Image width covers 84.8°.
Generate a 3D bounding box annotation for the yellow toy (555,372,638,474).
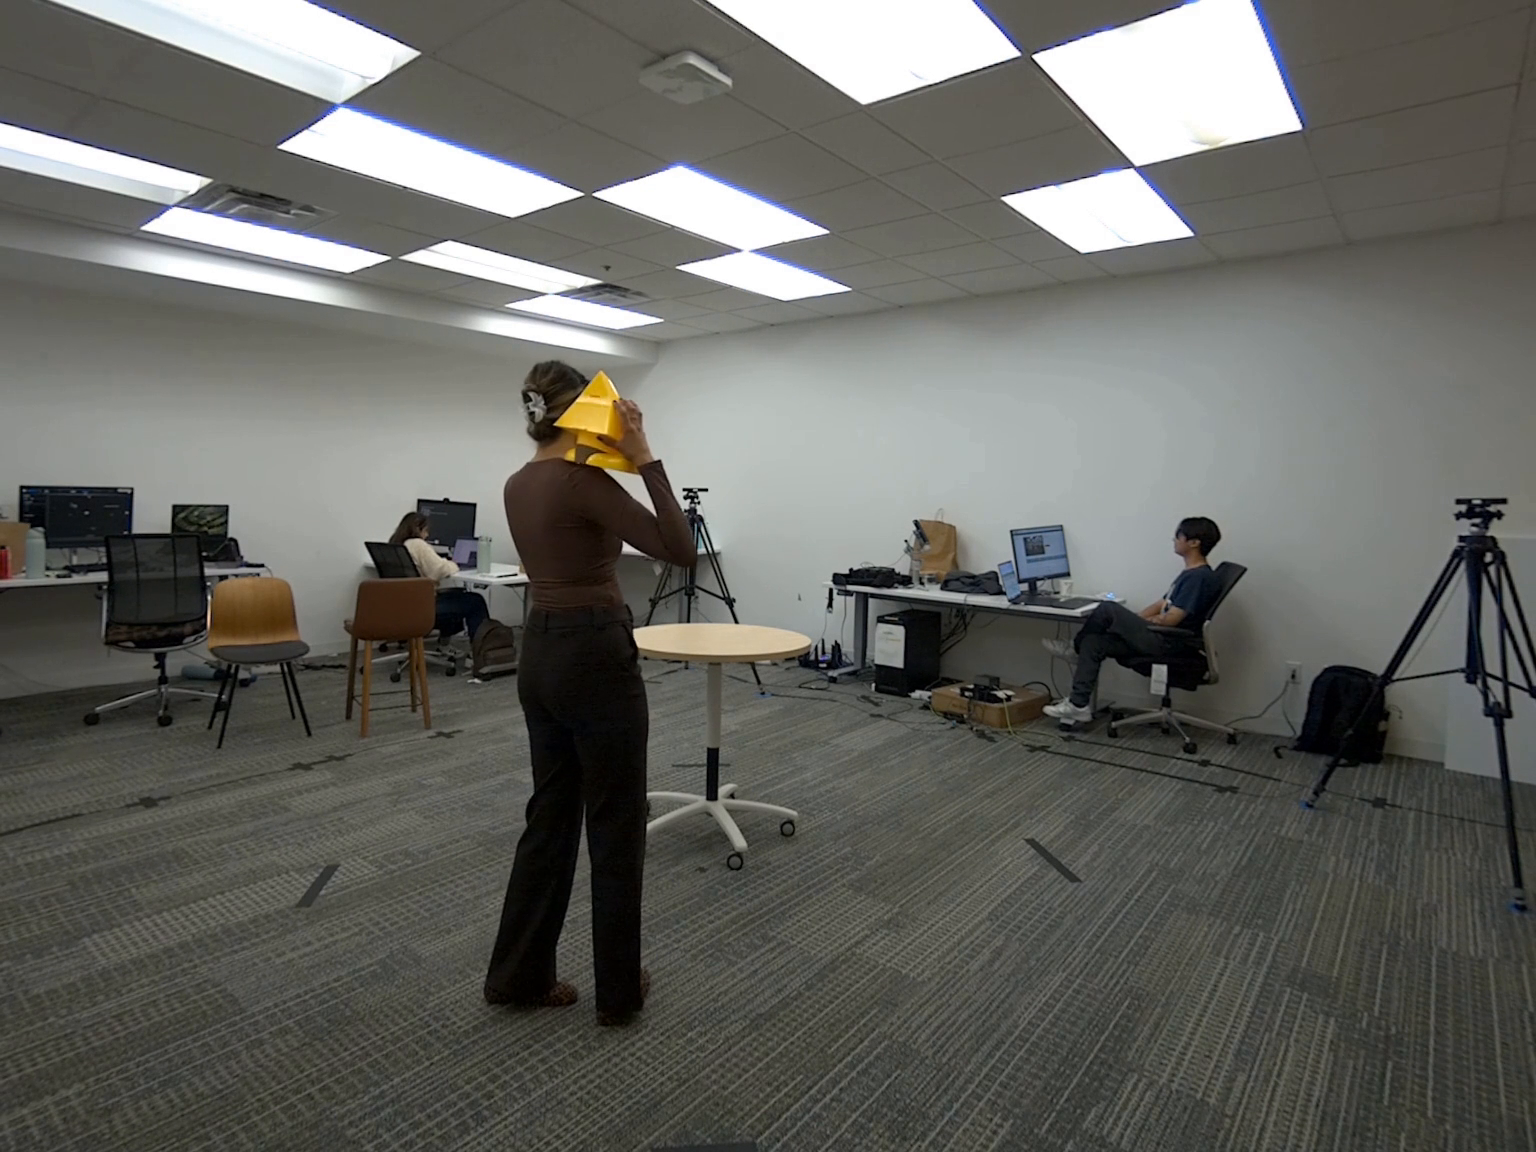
[{"bbox_3d":[-0.410,-0.385,2.126,0.212,0.230,0.186,15,4,38],"label":"yellow toy"}]
